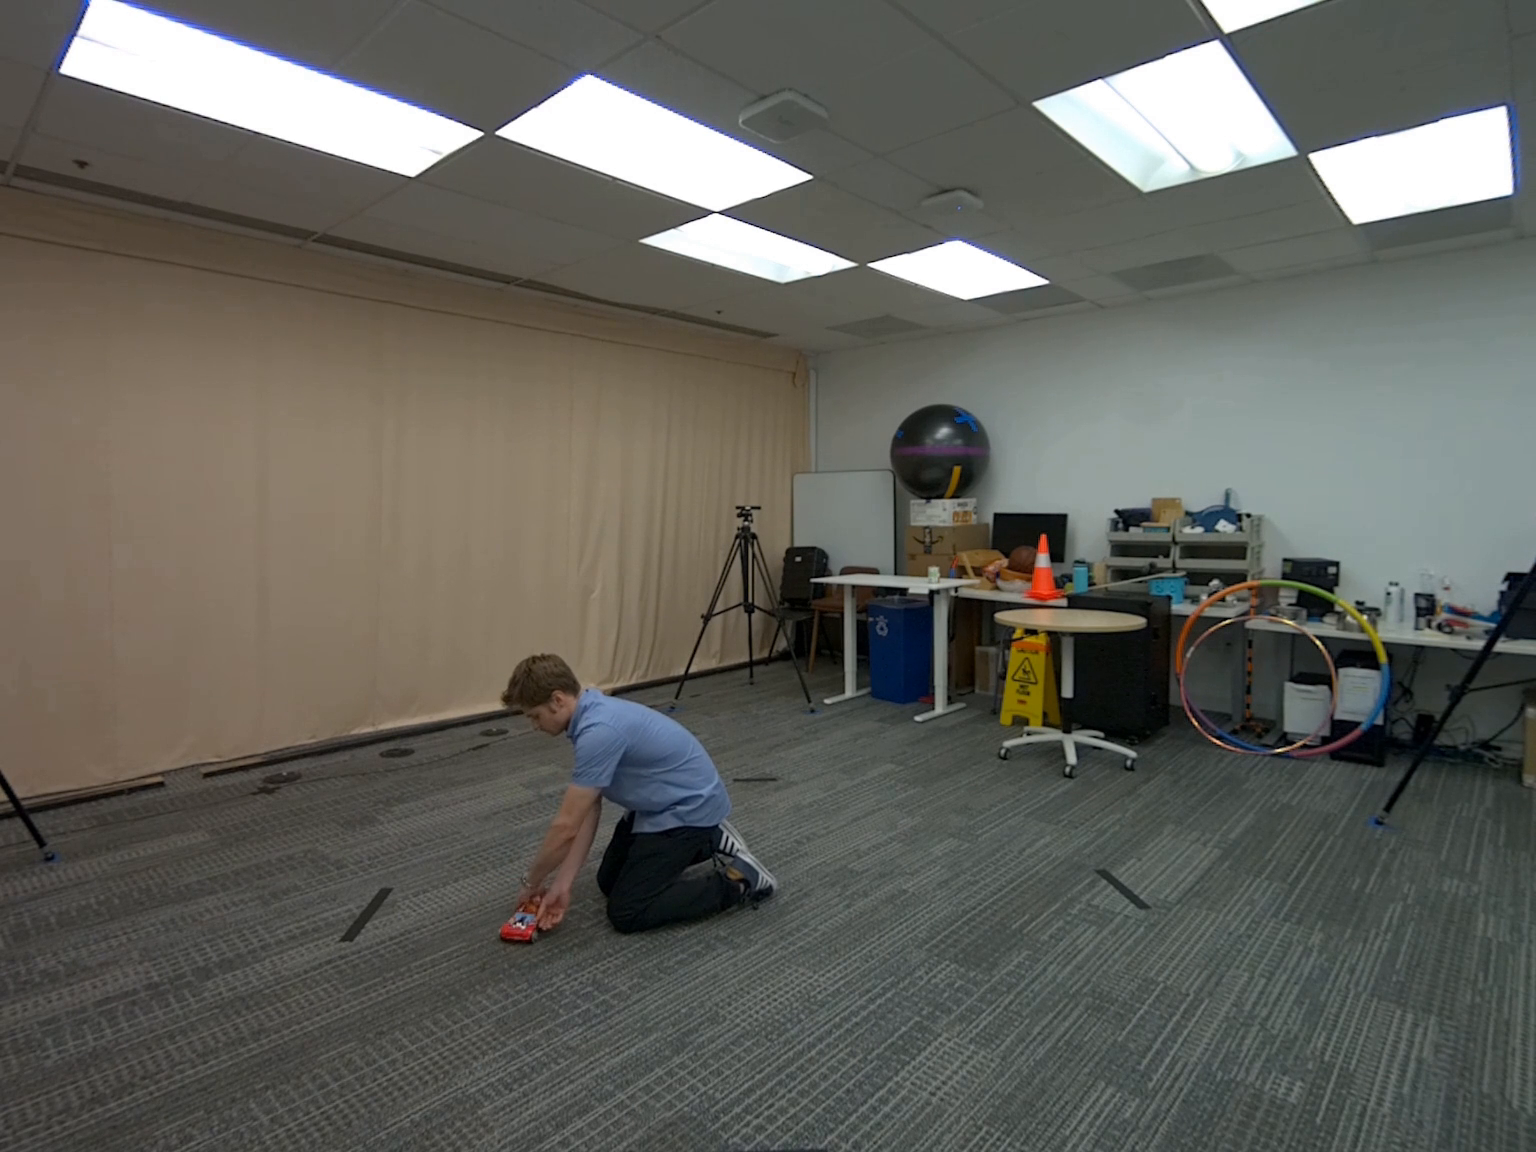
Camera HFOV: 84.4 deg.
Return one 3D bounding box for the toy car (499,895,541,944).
[{"bbox_3d":[-0.789,1.141,2.795,0.132,0.082,0.254,1,14,8],"label":"toy car"}]
